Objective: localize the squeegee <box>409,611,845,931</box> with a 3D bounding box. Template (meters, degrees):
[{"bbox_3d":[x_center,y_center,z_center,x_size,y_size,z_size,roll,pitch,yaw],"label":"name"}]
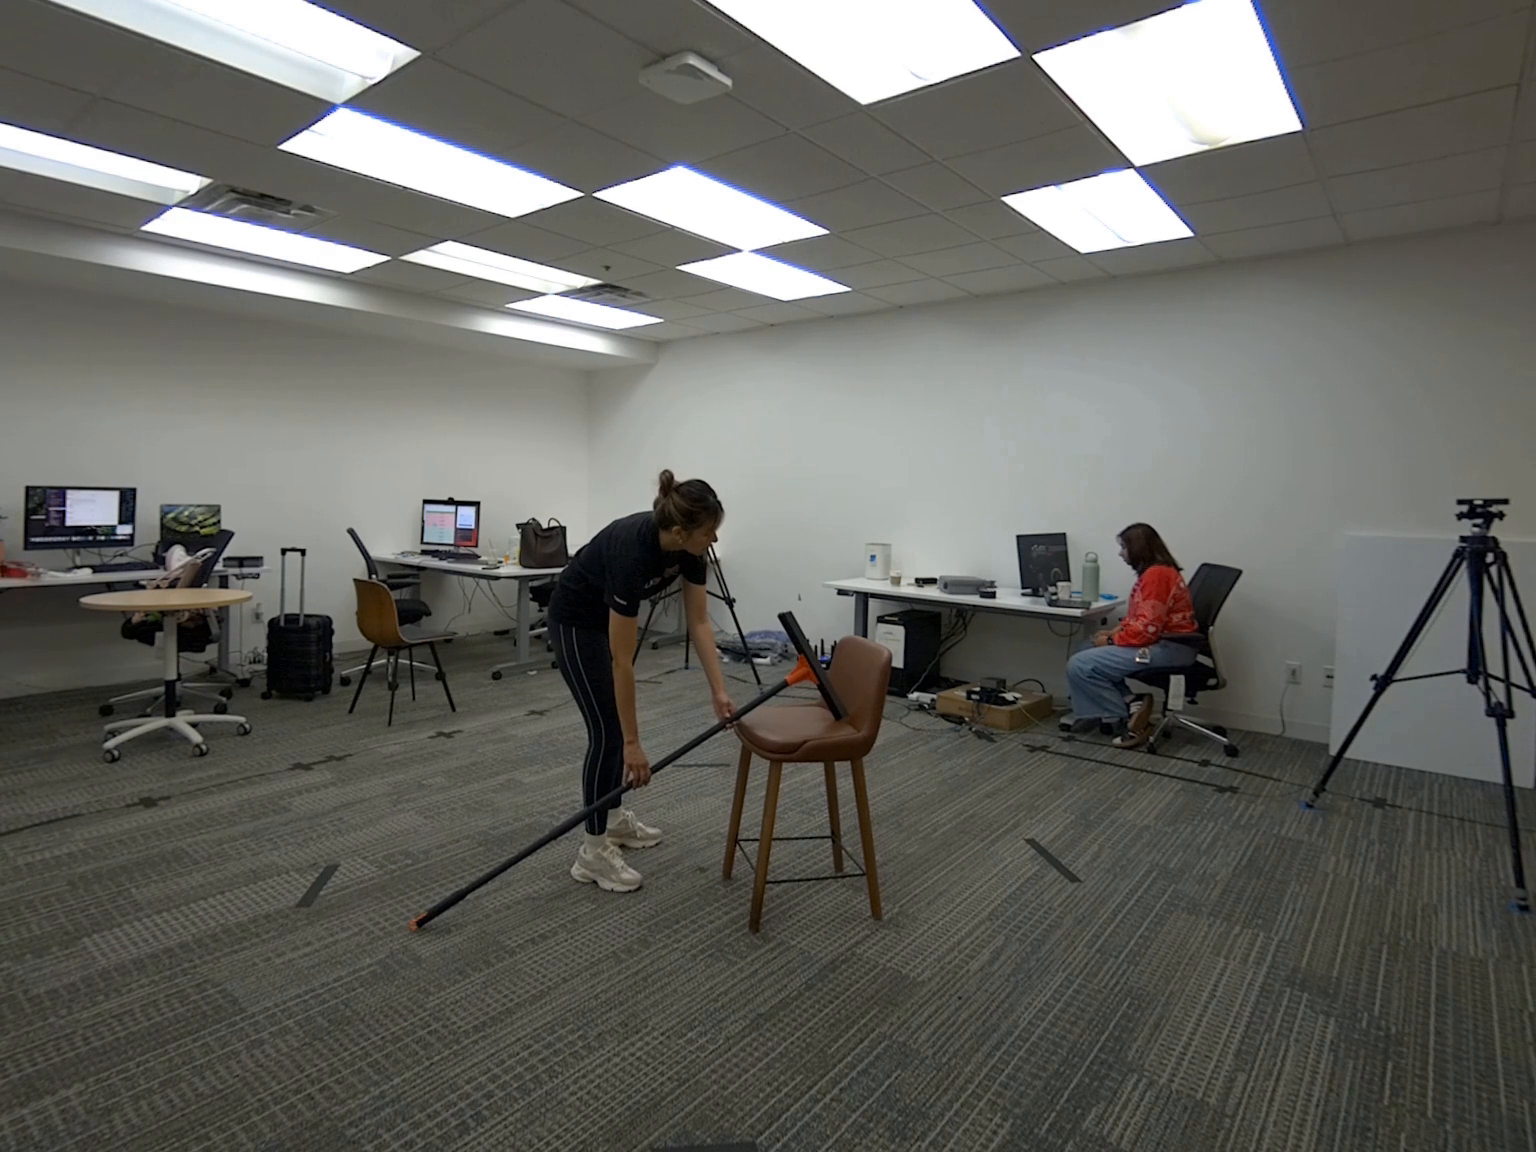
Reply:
[{"bbox_3d":[-0.485,0.690,2.752,1.532,0.443,0.052,-31,-9,-9],"label":"squeegee"}]
